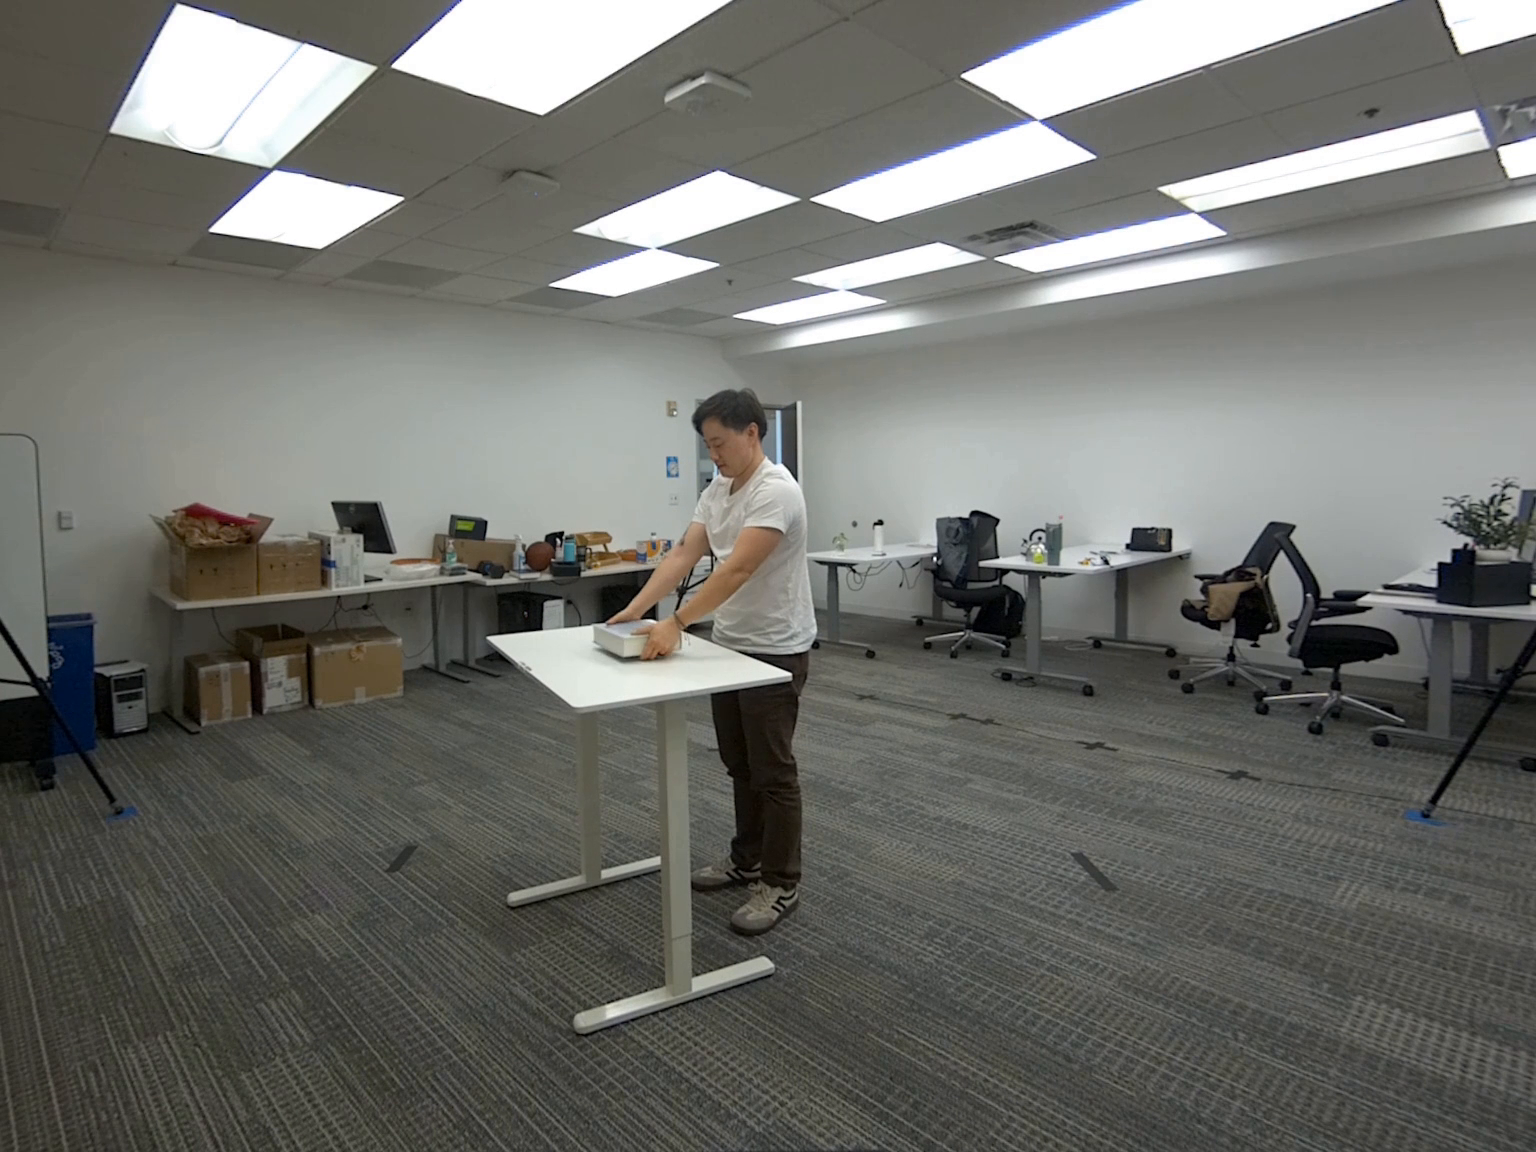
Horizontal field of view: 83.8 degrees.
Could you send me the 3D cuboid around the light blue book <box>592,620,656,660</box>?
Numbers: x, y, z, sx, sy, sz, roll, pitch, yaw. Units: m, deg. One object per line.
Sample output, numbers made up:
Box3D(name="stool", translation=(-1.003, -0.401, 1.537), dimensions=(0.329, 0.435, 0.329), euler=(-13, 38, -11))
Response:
Box3D(name="light blue book", translation=(-0.404, 0.183, 2.558), dimensions=(0.187, 0.059, 0.268), euler=(-2, 6, -29))
